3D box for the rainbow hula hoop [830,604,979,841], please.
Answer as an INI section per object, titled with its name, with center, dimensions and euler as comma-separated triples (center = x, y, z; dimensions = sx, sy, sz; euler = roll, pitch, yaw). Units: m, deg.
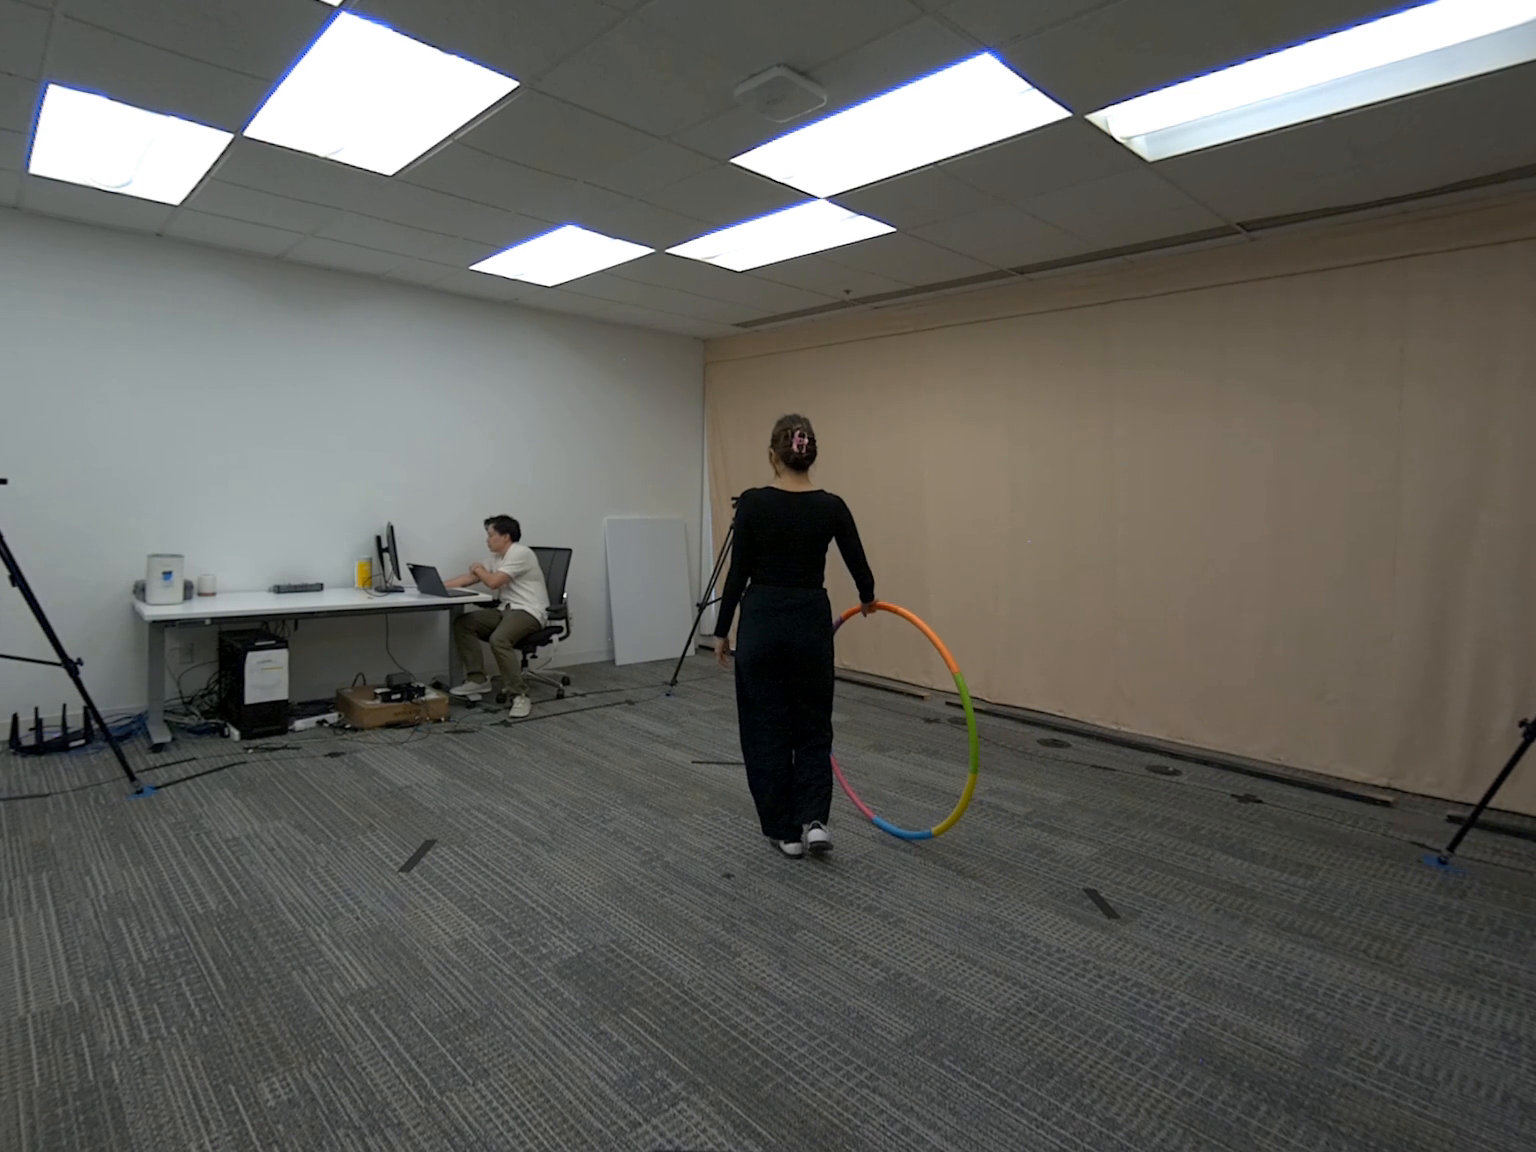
[rainbow hula hoop]
center = 0.486, 0.600, 3.519
dimensions = 0.035, 0.974, 1.002
euler = -5, 7, -33
